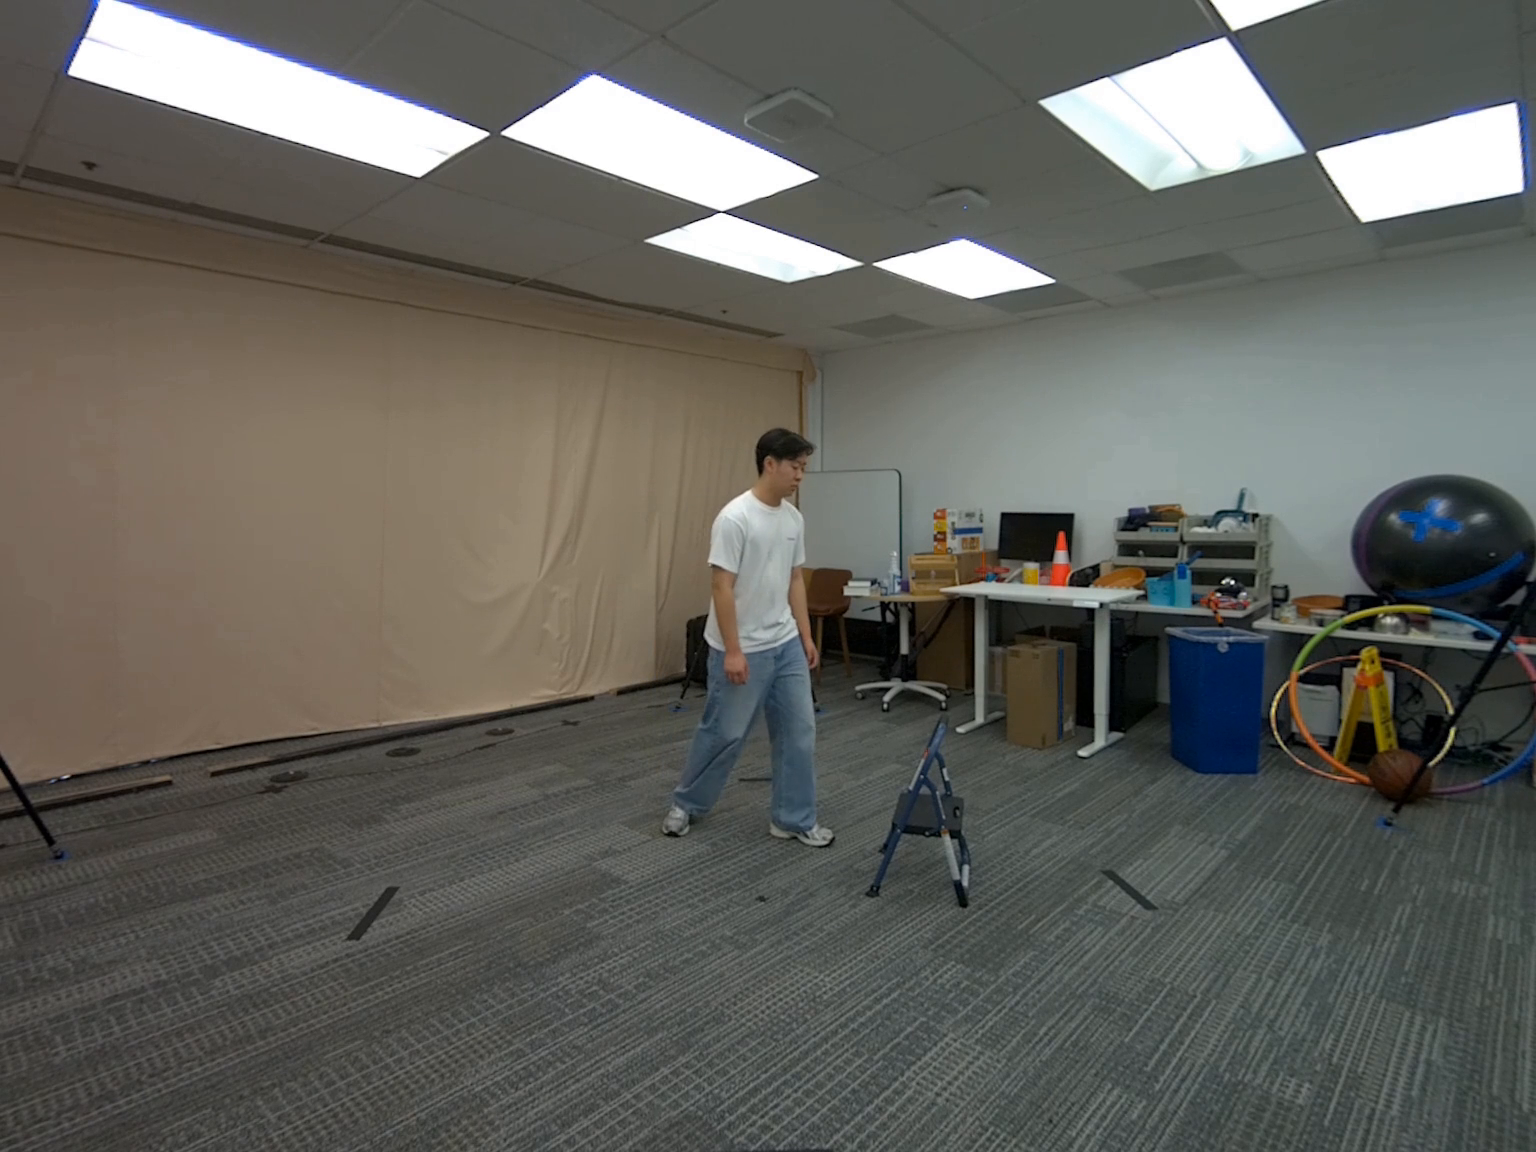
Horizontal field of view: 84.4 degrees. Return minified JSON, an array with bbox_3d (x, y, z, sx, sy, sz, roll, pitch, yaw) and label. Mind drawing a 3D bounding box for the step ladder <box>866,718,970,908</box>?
[{"bbox_3d":[0.576,0.826,3.134,0.355,0.605,0.424,0,3,16],"label":"step ladder"}]
